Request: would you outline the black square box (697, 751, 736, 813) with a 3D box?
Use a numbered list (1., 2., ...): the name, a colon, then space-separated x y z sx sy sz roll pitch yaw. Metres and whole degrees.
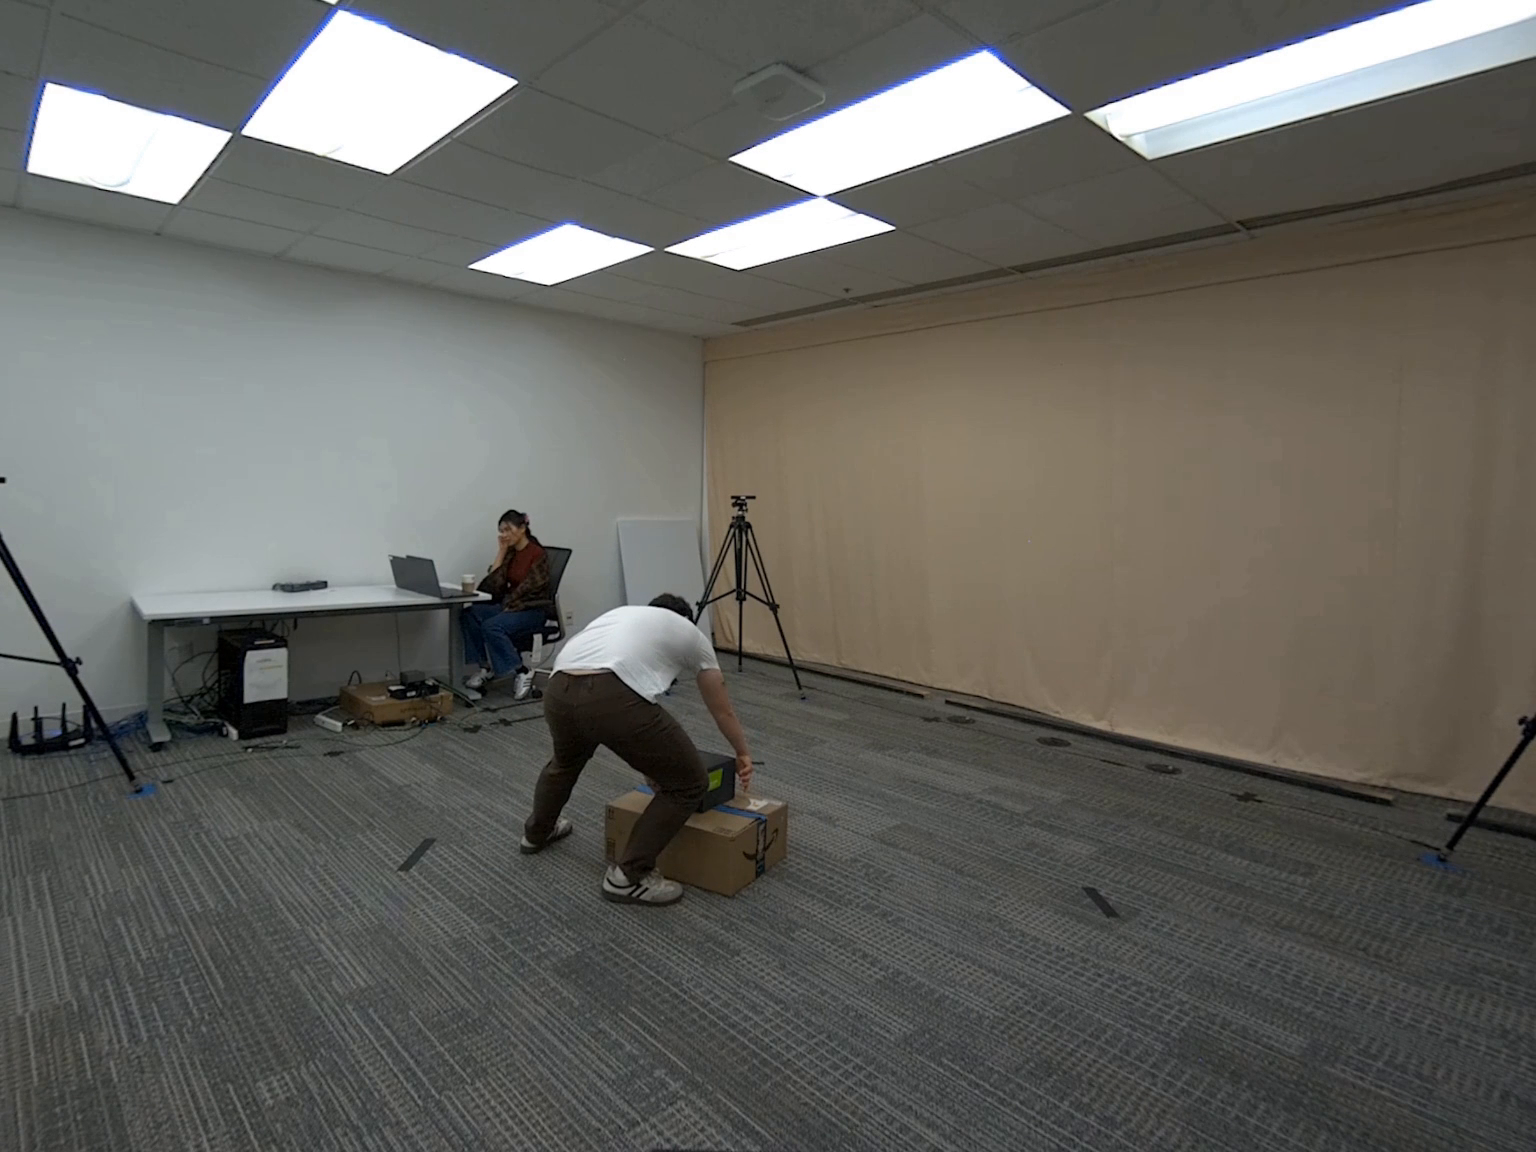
1. black square box: -0.283 0.786 3.258 0.222 0.156 0.223 4 3 31
